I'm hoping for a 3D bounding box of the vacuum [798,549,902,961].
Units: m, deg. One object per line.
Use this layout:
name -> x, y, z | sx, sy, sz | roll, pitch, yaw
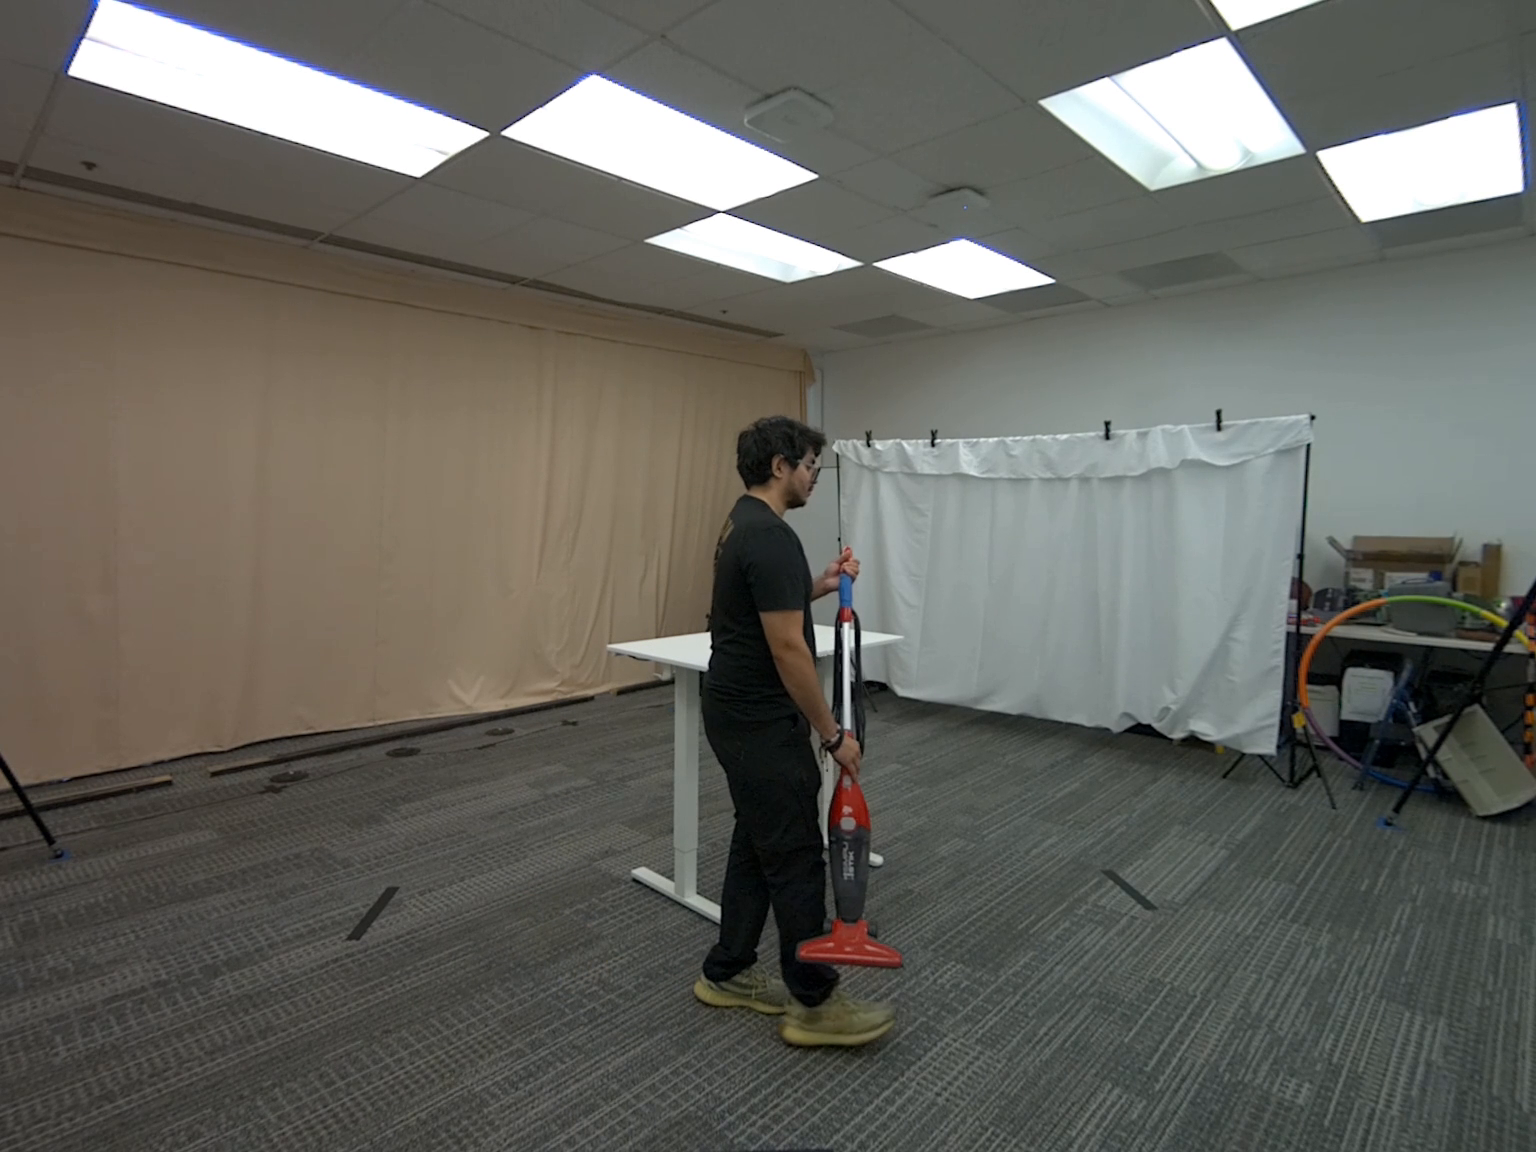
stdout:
vacuum -> 0.219, 0.413, 2.262 | 0.258, 1.062, 0.139 | -8, -25, 22
